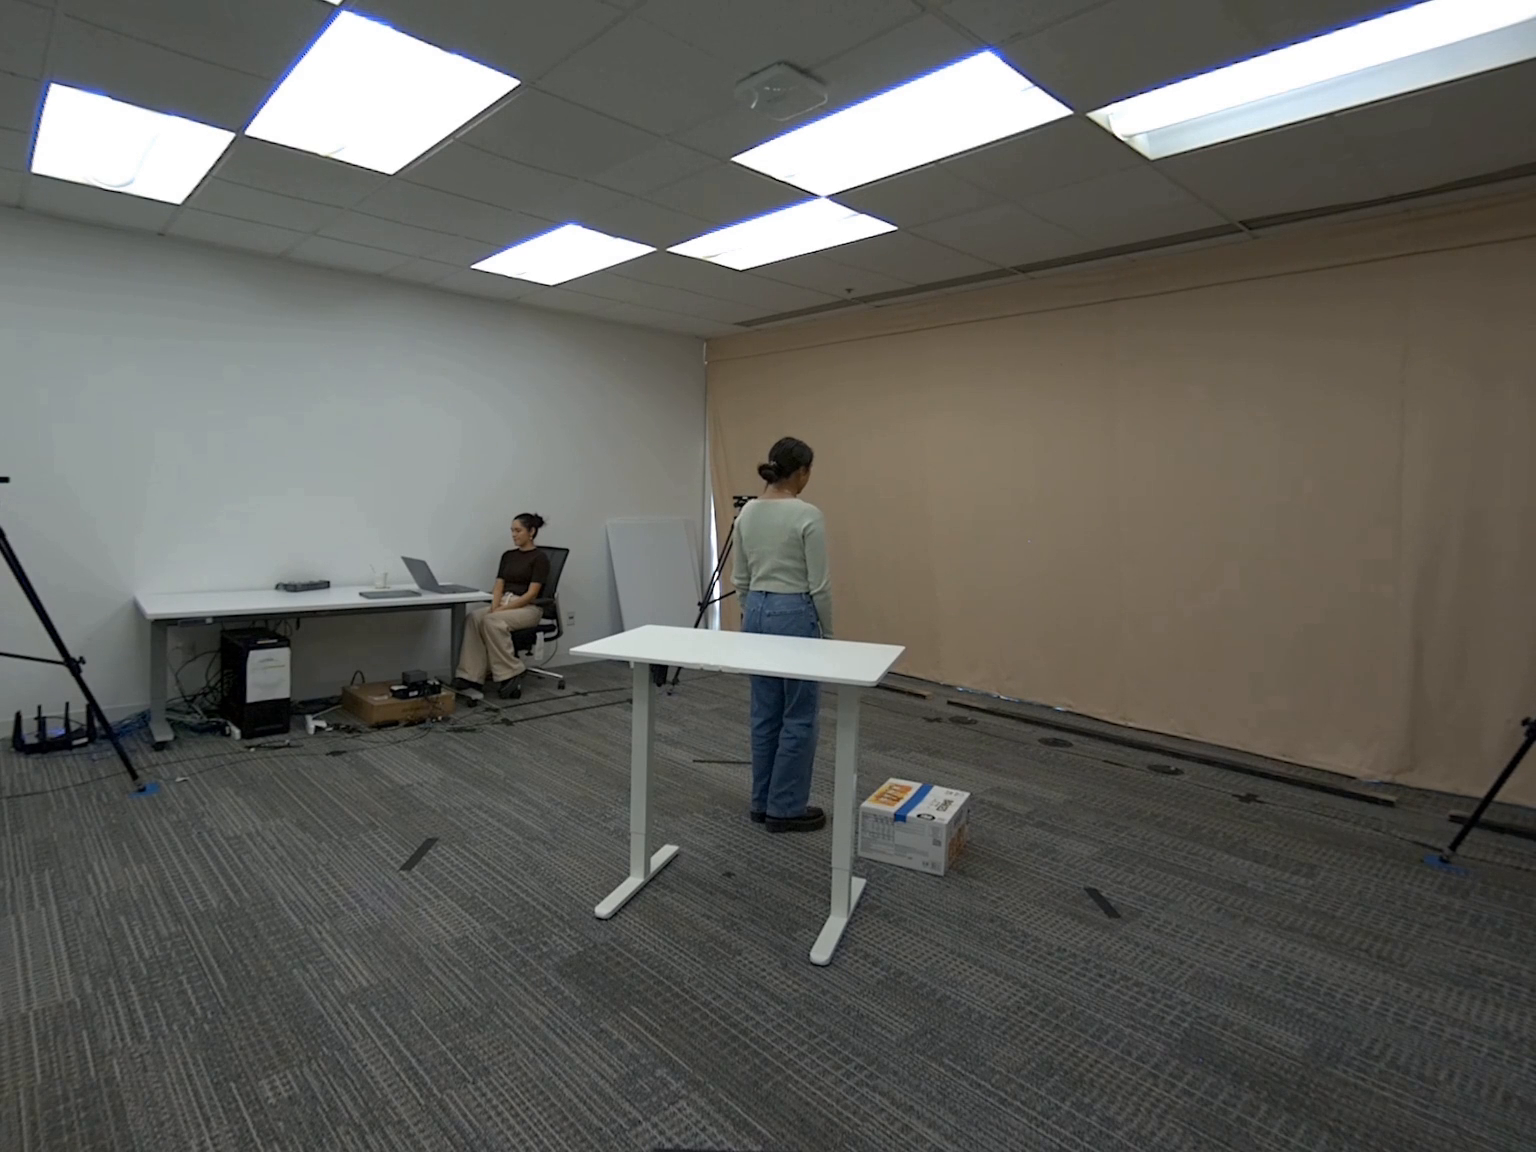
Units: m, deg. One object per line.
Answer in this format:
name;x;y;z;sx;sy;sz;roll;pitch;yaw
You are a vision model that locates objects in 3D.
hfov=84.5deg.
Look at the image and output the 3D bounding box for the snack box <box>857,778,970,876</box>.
snack box;0.586;0.995;3.377;0.347;0.205;0.398;4;5;27
